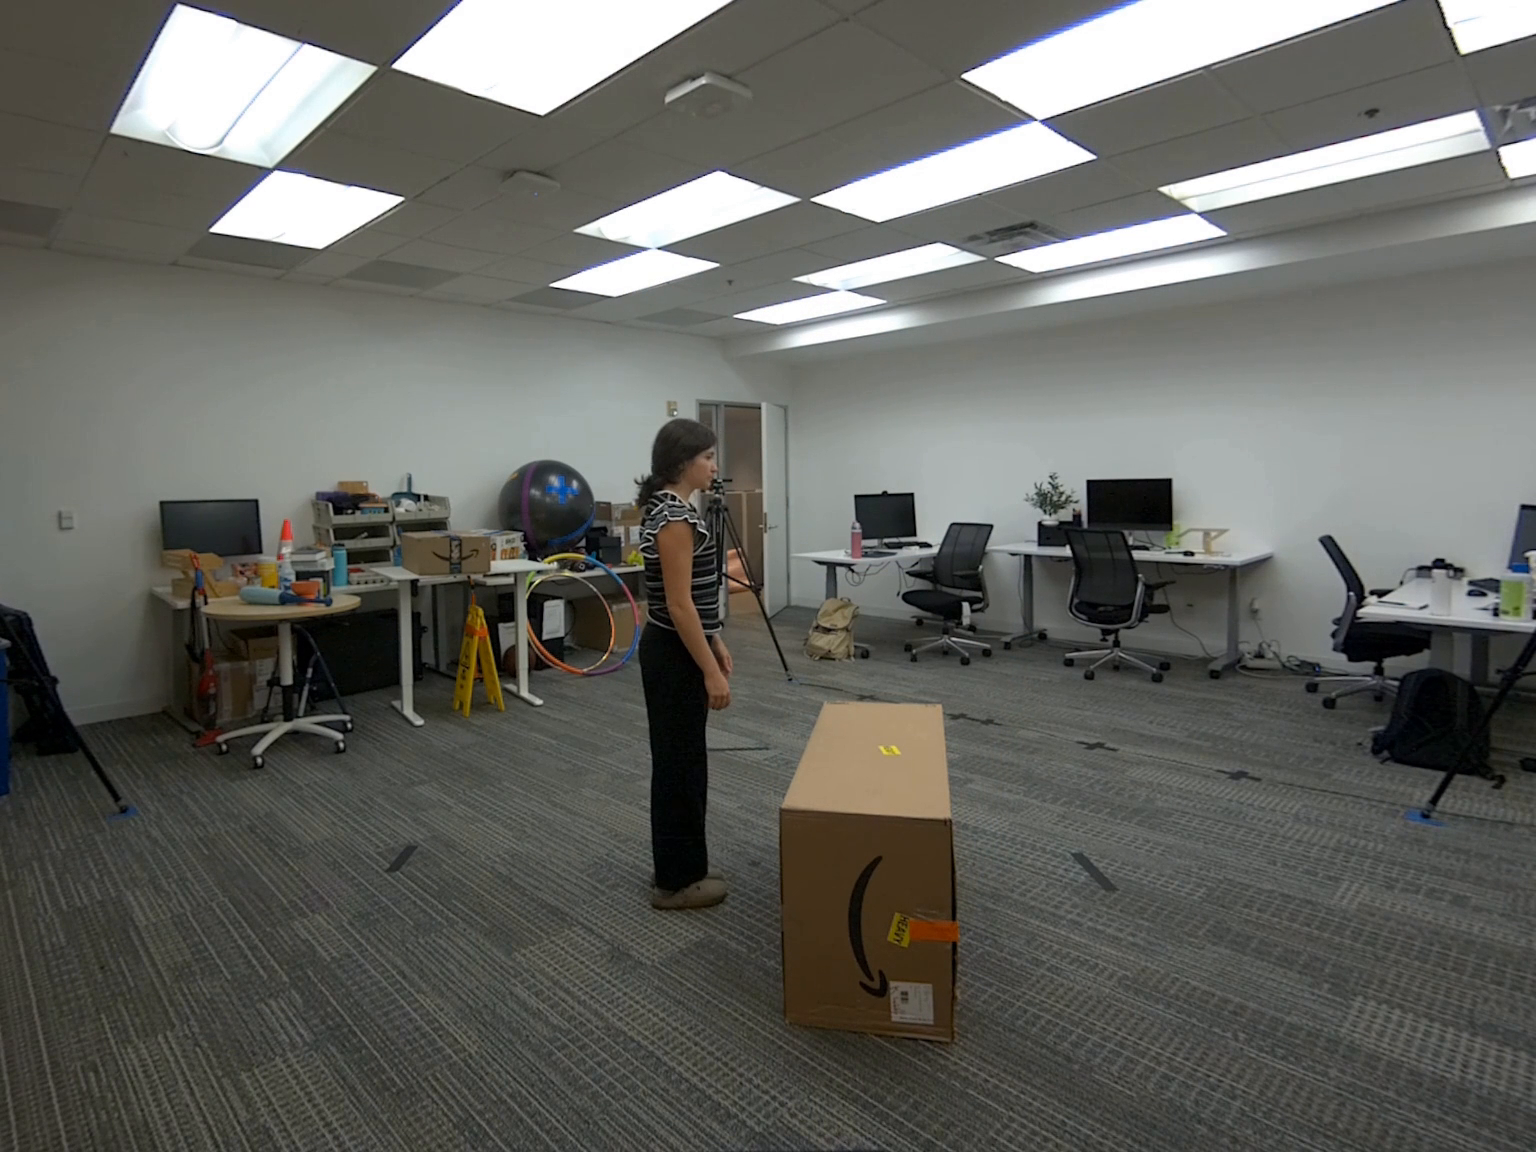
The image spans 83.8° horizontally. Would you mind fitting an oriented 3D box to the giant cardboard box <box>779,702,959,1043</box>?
[{"bbox_3d":[0.337,0.808,2.618,0.431,0.575,1.019,-1,6,11],"label":"giant cardboard box"}]
